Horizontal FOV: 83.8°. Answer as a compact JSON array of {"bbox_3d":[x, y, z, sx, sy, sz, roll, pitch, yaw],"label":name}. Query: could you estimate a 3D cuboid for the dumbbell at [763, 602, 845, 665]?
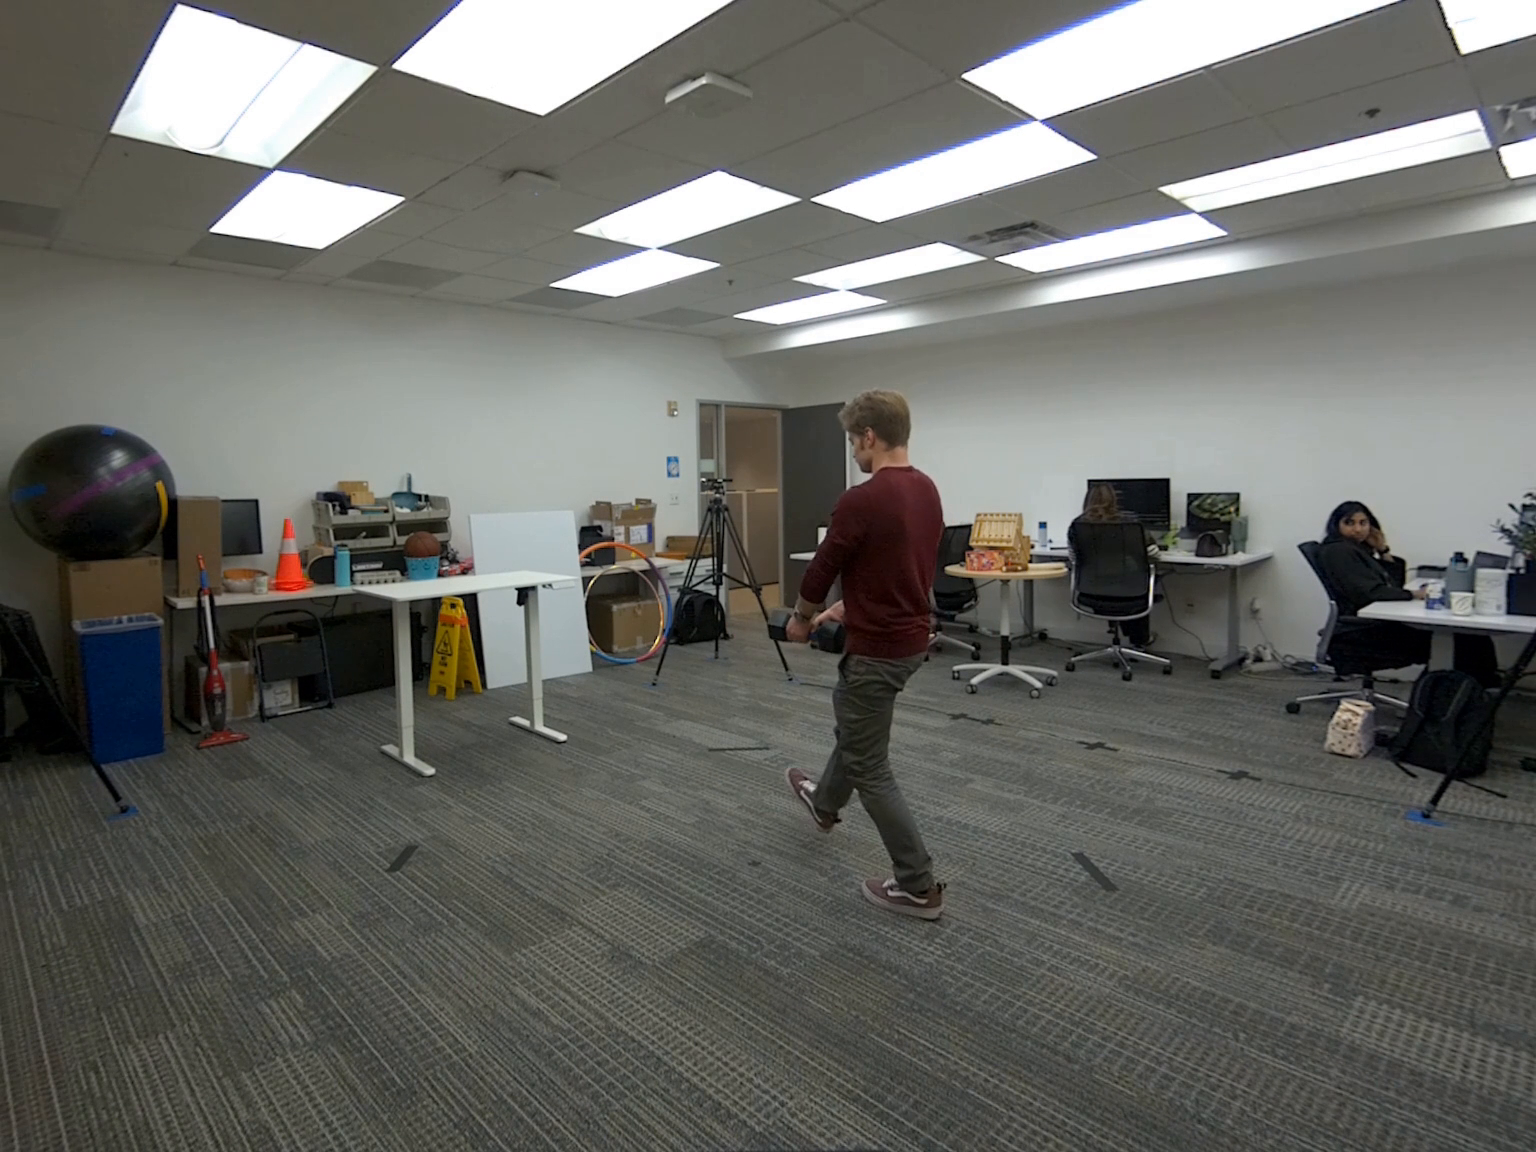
[{"bbox_3d":[0.150,0.200,3.038,0.303,0.123,0.104,12,-30,38],"label":"dumbbell"}]
